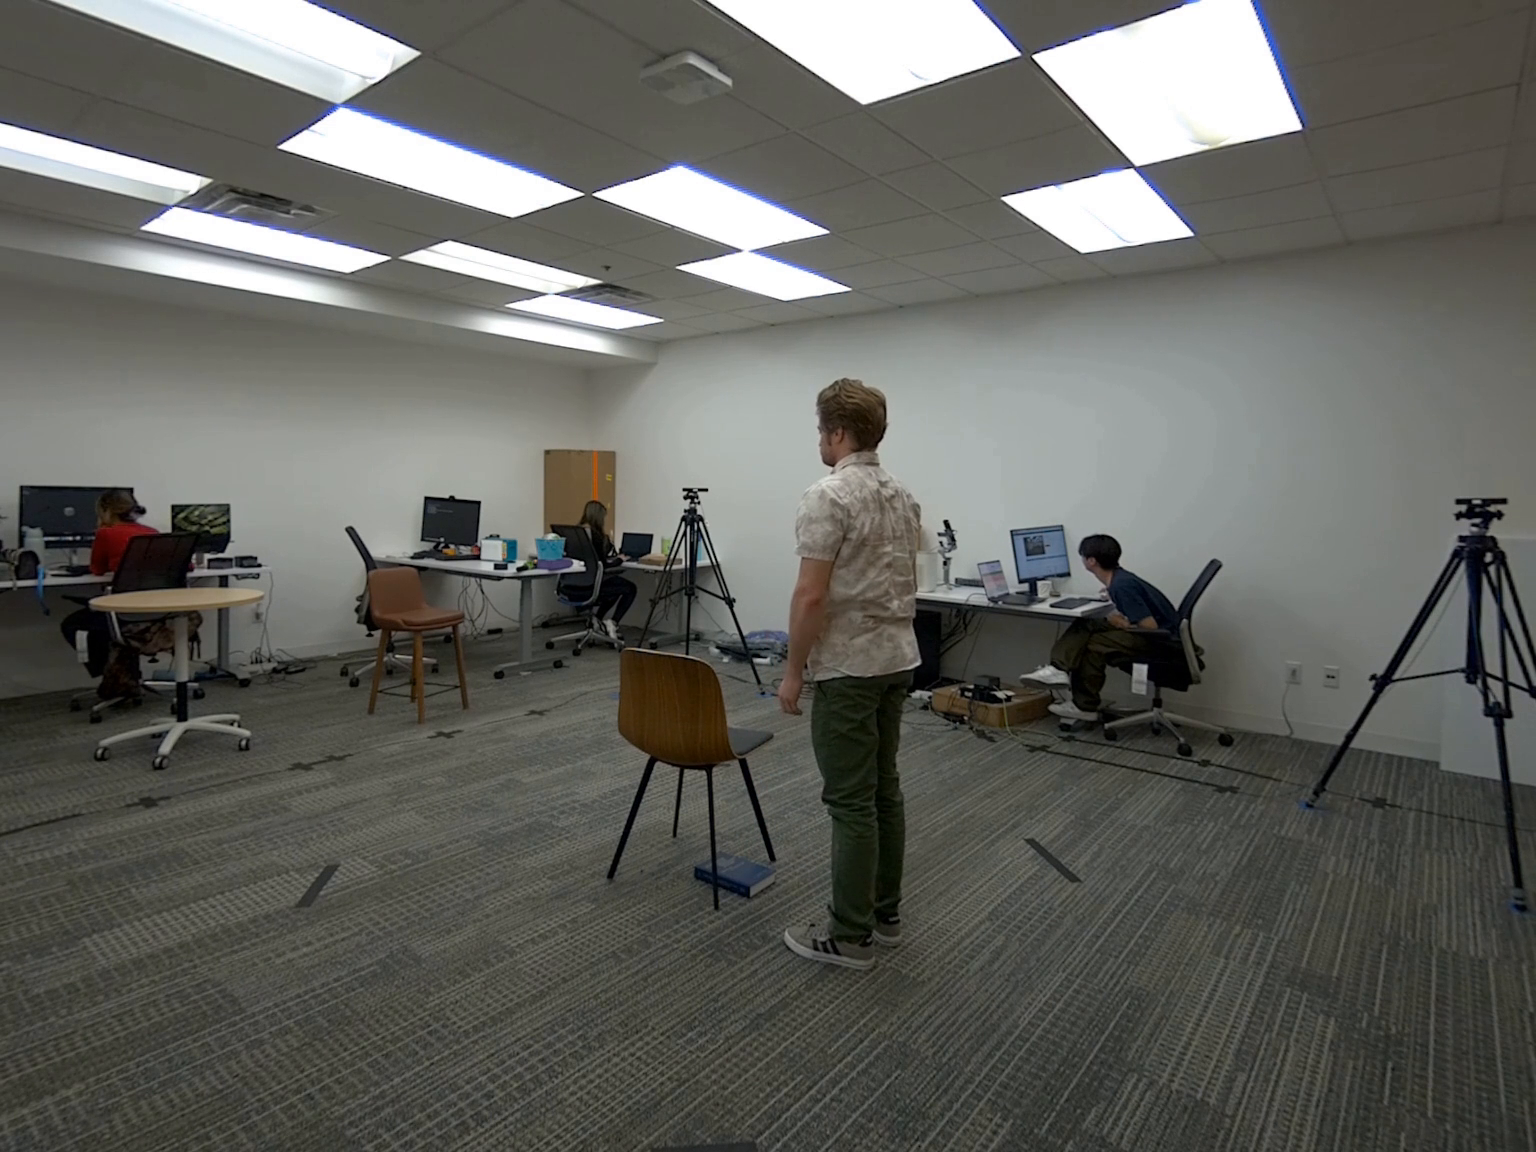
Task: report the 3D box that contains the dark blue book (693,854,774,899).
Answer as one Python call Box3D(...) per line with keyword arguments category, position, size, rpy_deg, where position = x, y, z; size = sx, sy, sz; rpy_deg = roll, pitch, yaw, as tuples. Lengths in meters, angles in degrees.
Box3D(category="dark blue book", position=(-0.125, 1.055, 3.018), size=(0.253, 0.045, 0.159), rpy_deg=(6, 6, 36))
